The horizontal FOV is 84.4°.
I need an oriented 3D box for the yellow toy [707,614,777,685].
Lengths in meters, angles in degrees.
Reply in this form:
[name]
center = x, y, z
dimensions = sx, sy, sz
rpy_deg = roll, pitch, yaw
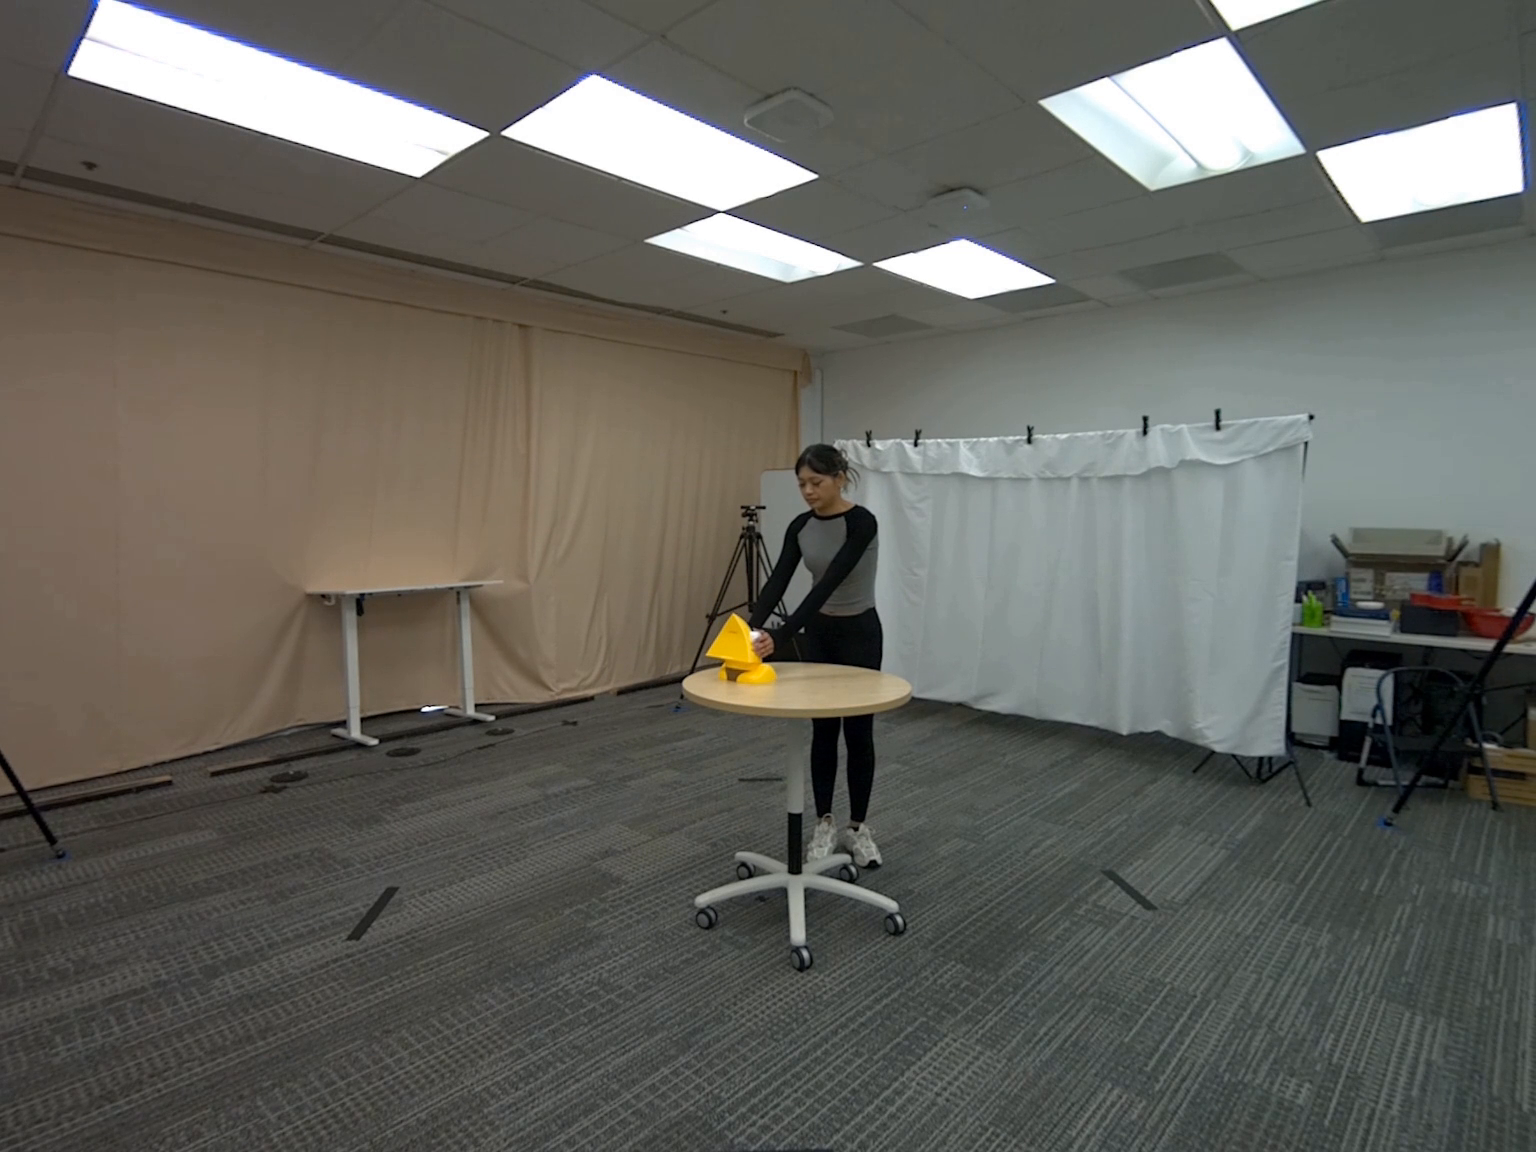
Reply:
[yellow toy]
center = -0.072, 0.242, 2.923
dimensions = 0.211, 0.230, 0.187
rpy_deg = 2, 3, 42
